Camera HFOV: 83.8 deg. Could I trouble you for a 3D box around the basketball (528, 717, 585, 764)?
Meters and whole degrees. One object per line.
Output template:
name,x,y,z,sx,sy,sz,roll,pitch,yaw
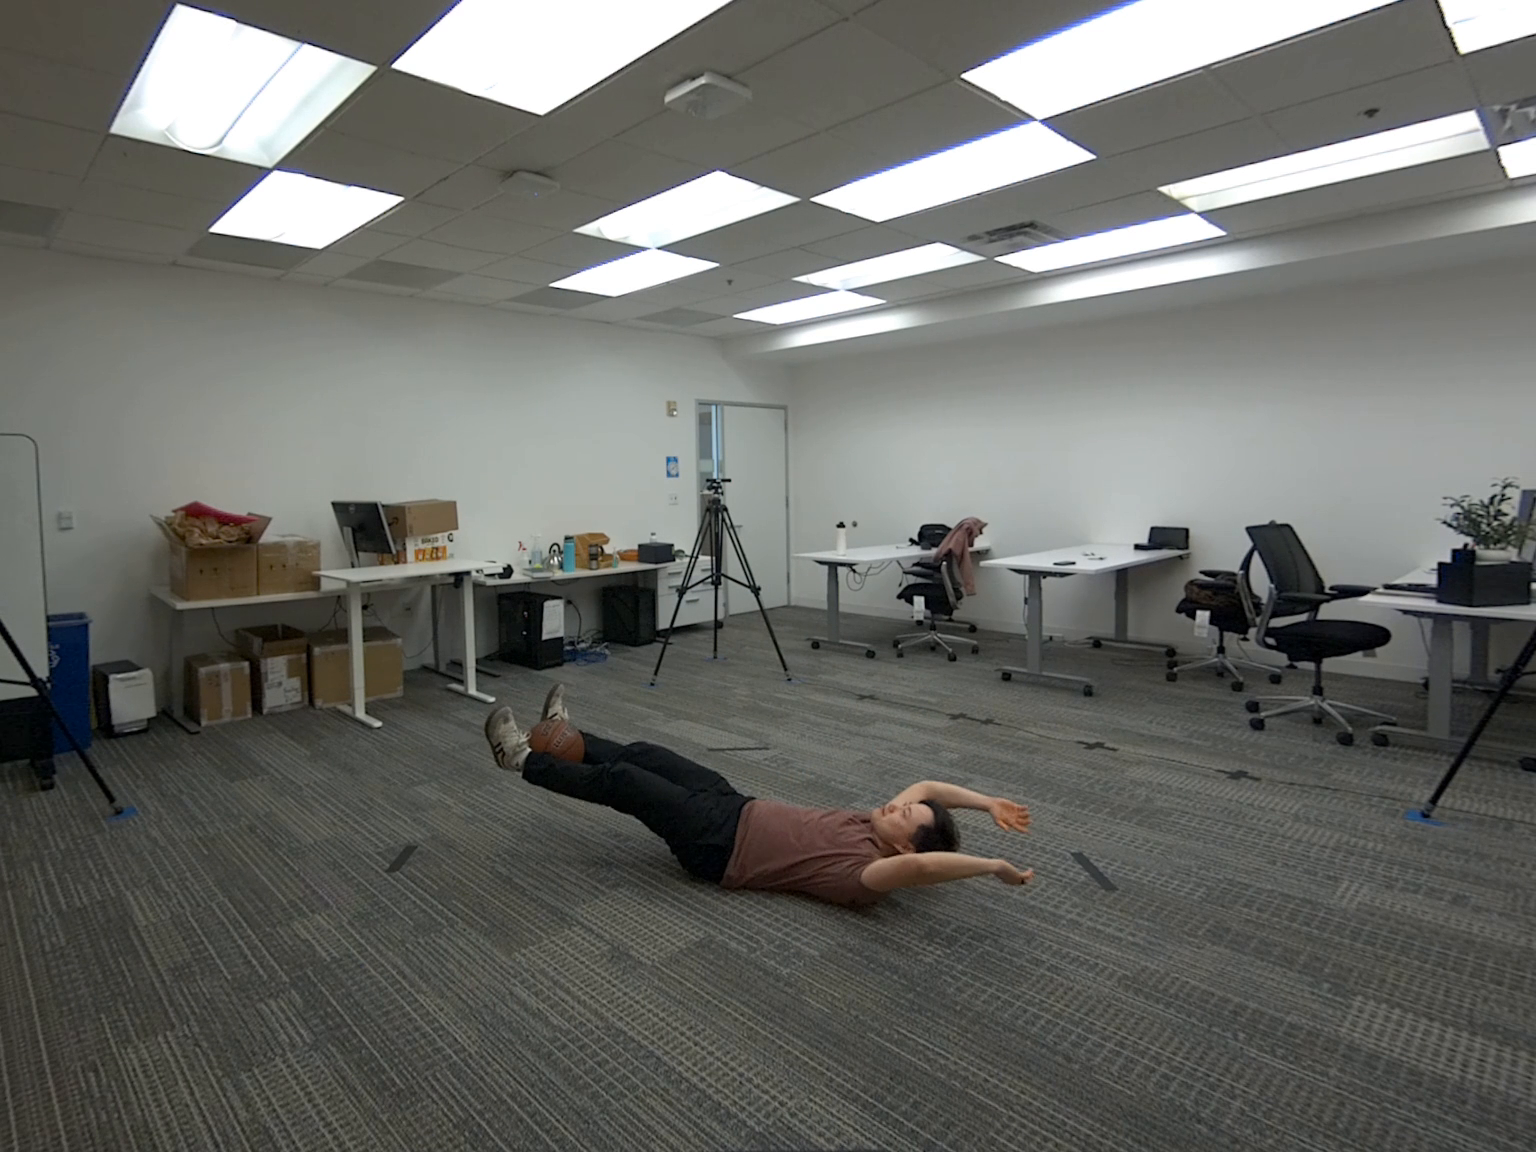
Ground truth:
basketball,-0.828,0.672,3.298,0.236,0.236,0.236,0,1,-2
